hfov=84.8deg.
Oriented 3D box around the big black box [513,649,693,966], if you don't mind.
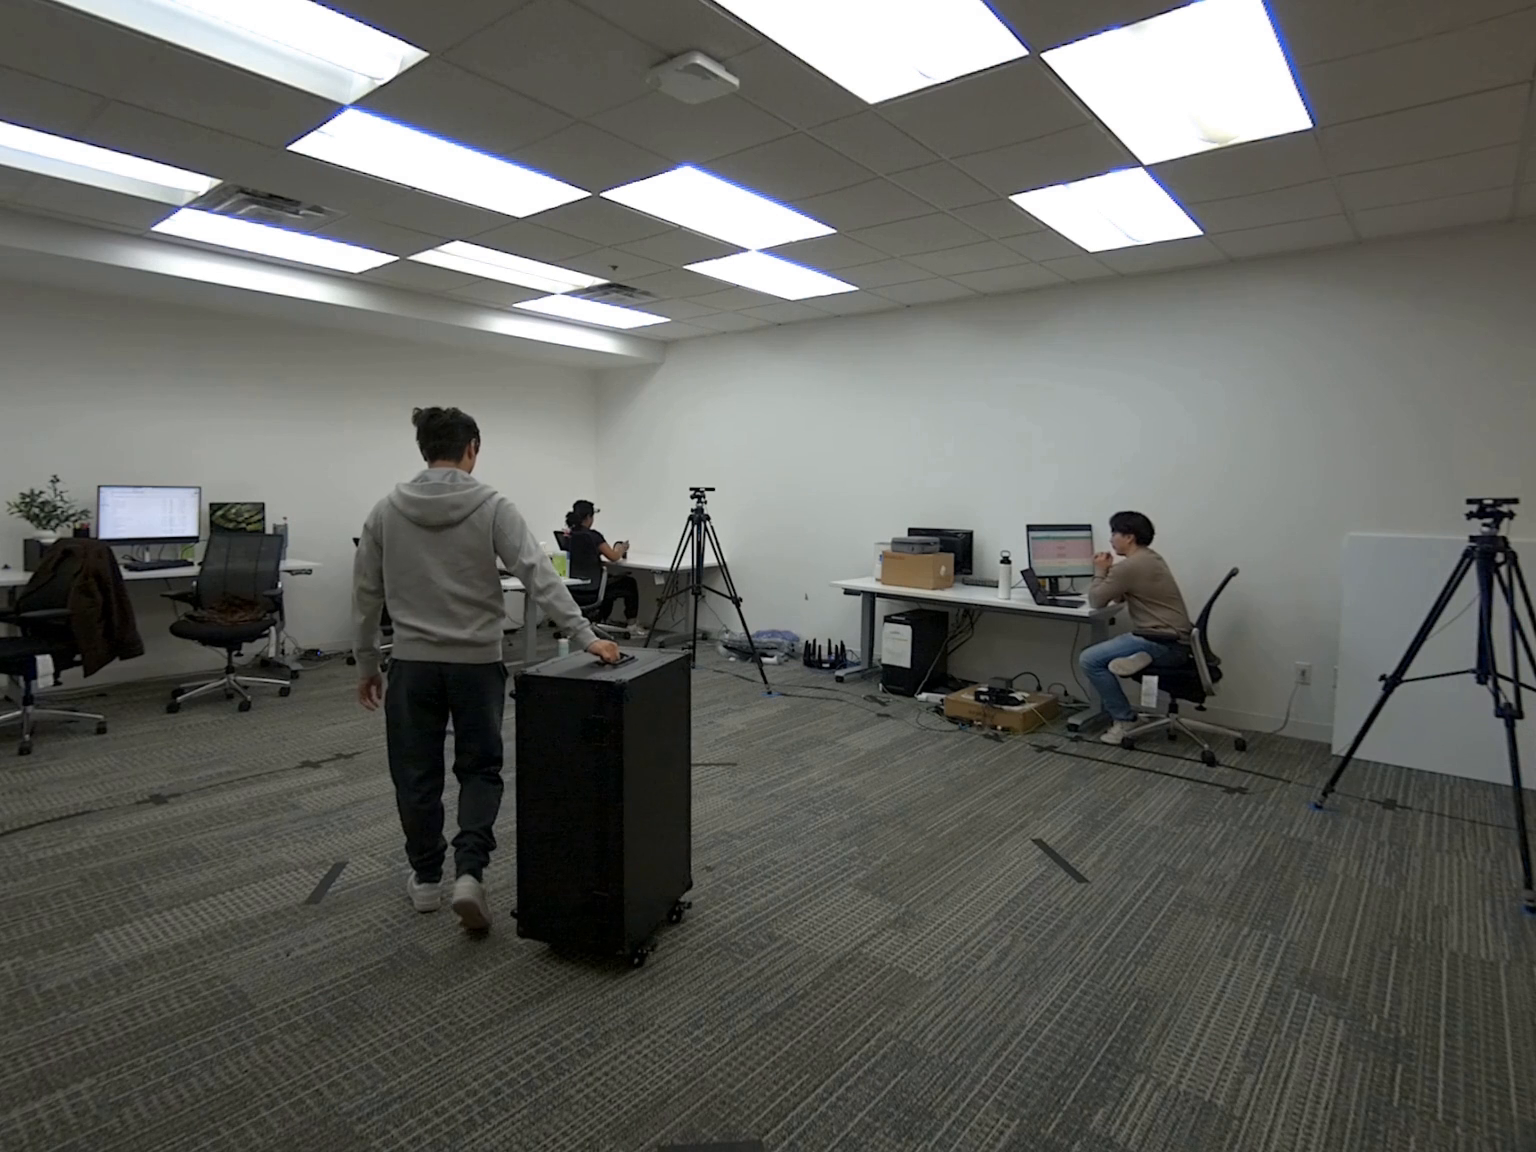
[{"bbox_3d":[-0.509,0.687,2.624,0.405,0.859,0.511,0,3,20],"label":"big black box"}]
